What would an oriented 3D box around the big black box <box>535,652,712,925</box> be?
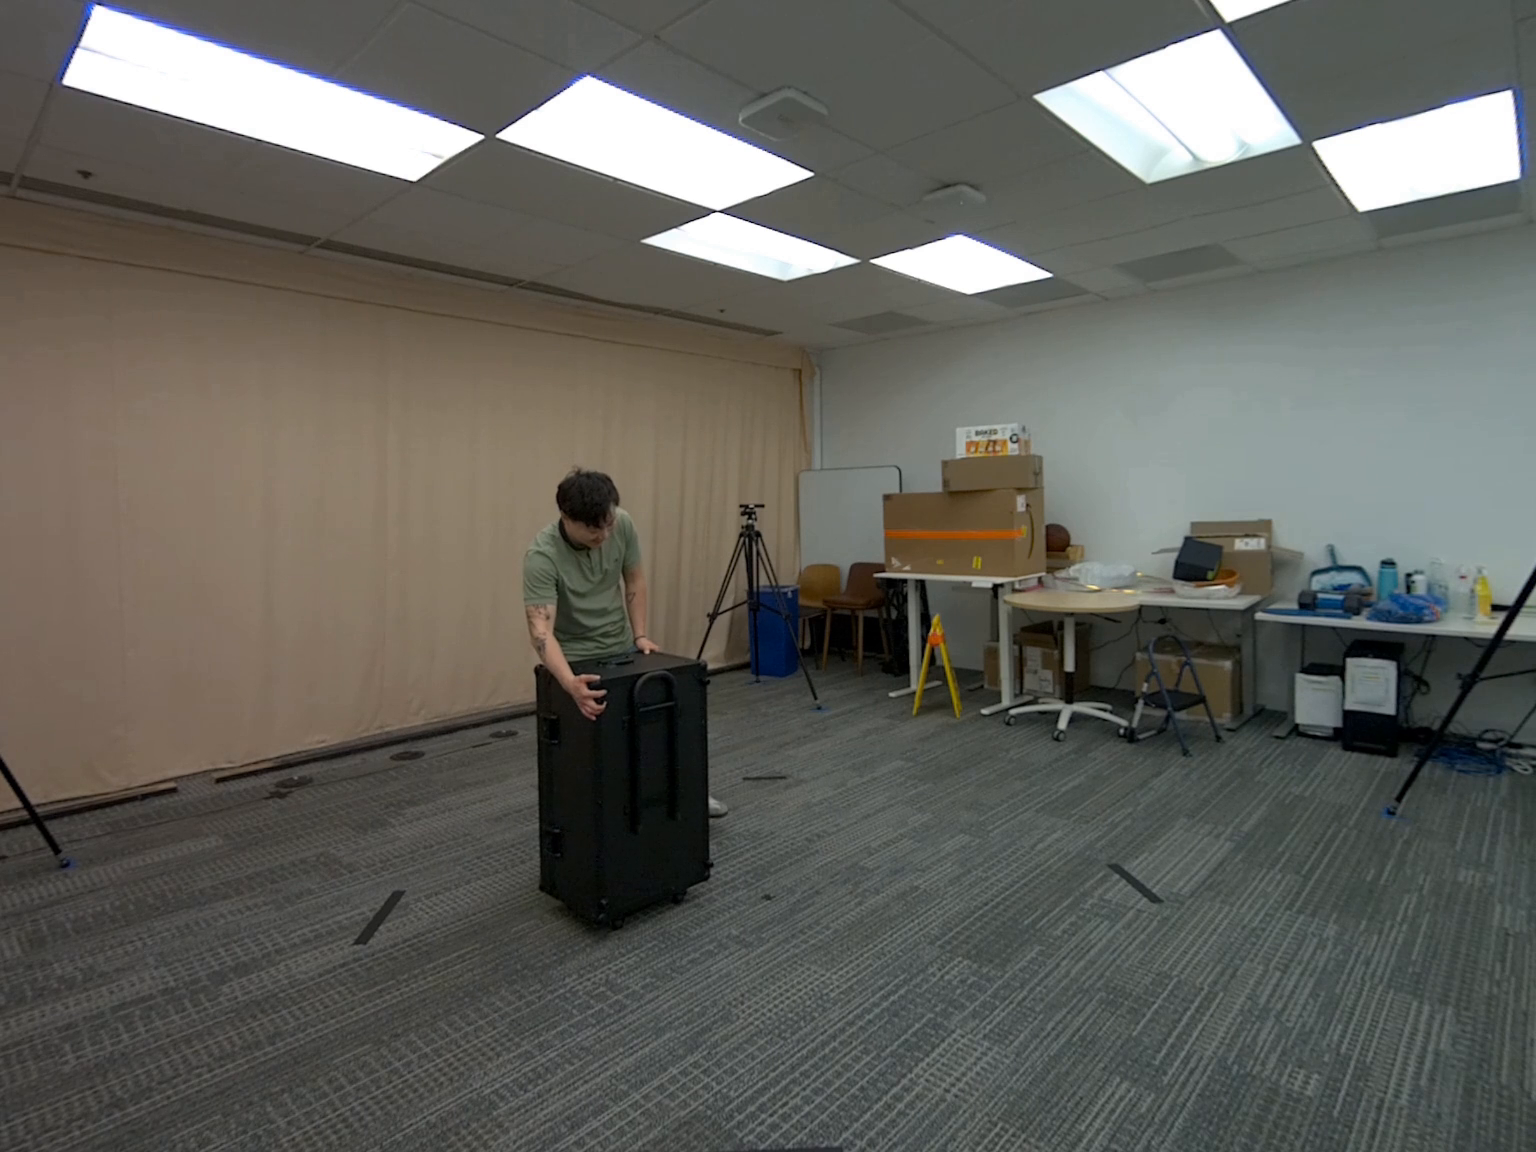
[{"bbox_3d":[-0.485,0.727,2.928,0.505,0.859,0.409,-4,5,-43],"label":"big black box"}]
